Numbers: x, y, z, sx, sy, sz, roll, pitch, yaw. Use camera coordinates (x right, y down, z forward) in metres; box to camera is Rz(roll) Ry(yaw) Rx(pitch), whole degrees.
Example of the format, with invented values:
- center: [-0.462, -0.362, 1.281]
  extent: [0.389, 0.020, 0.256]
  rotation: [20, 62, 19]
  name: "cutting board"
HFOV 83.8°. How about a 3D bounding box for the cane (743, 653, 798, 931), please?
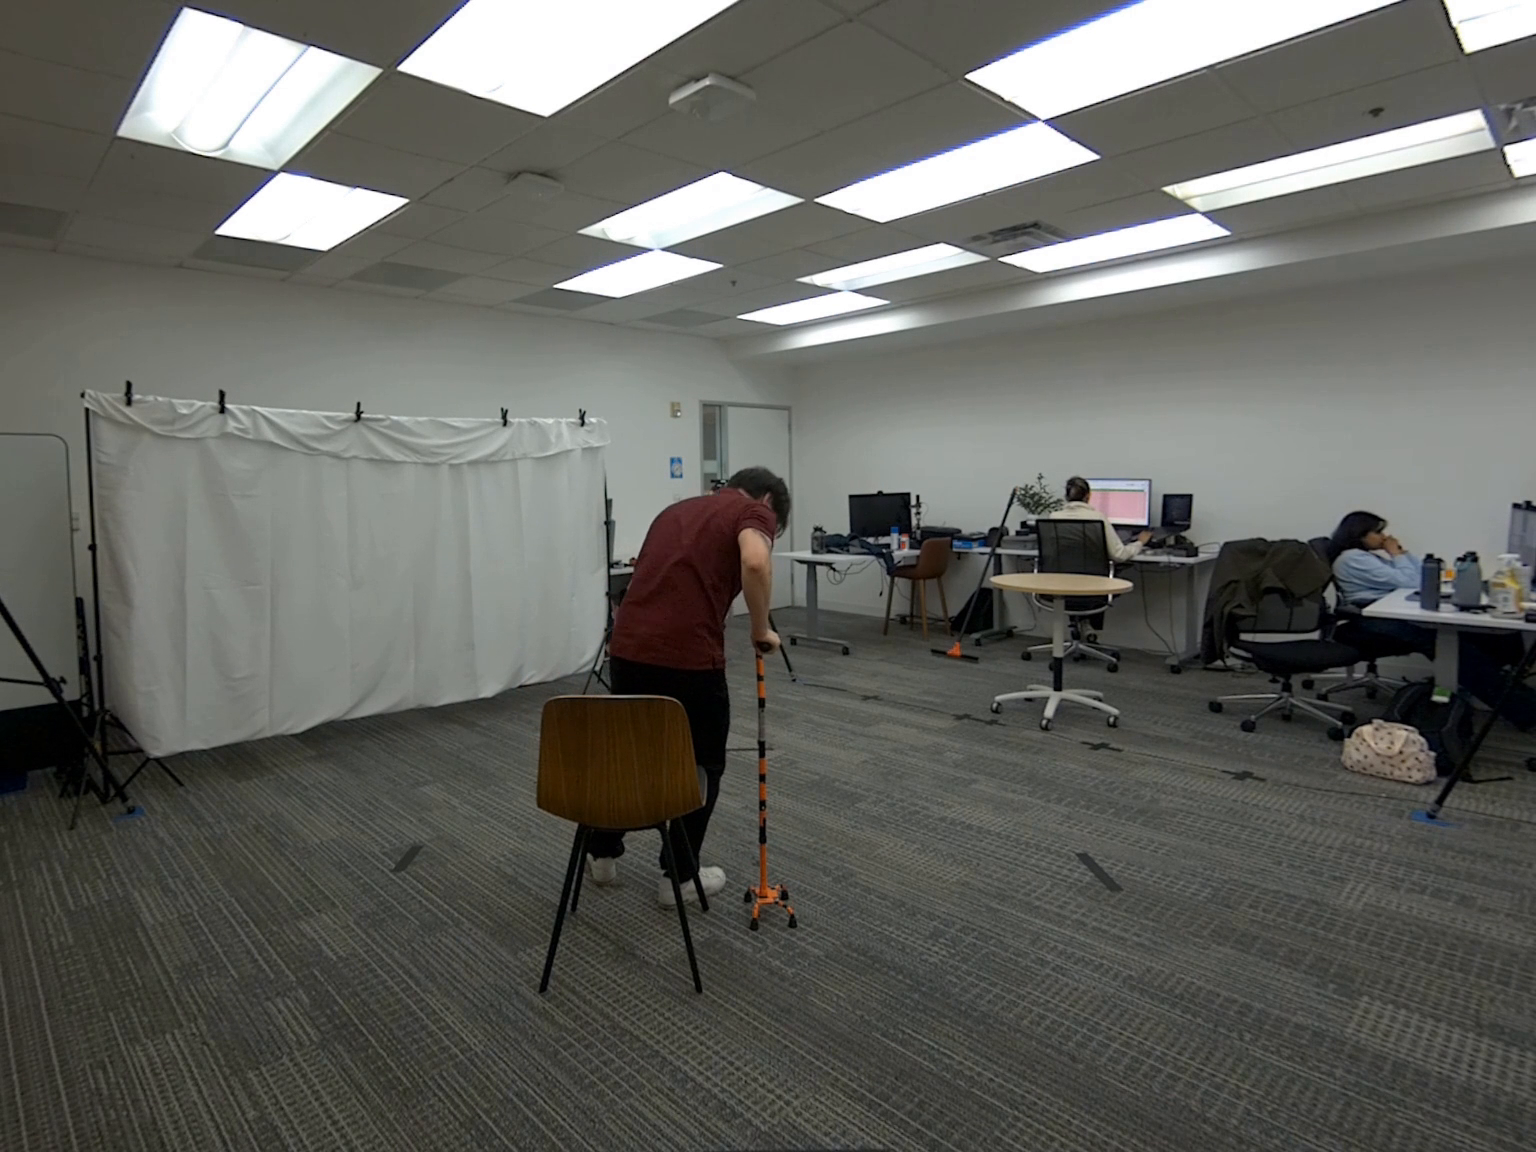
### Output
- center: [0.001, 0.640, 2.719]
  extent: [0.151, 0.905, 0.208]
  rotation: [-1, 4, -6]
  name: "cane"
